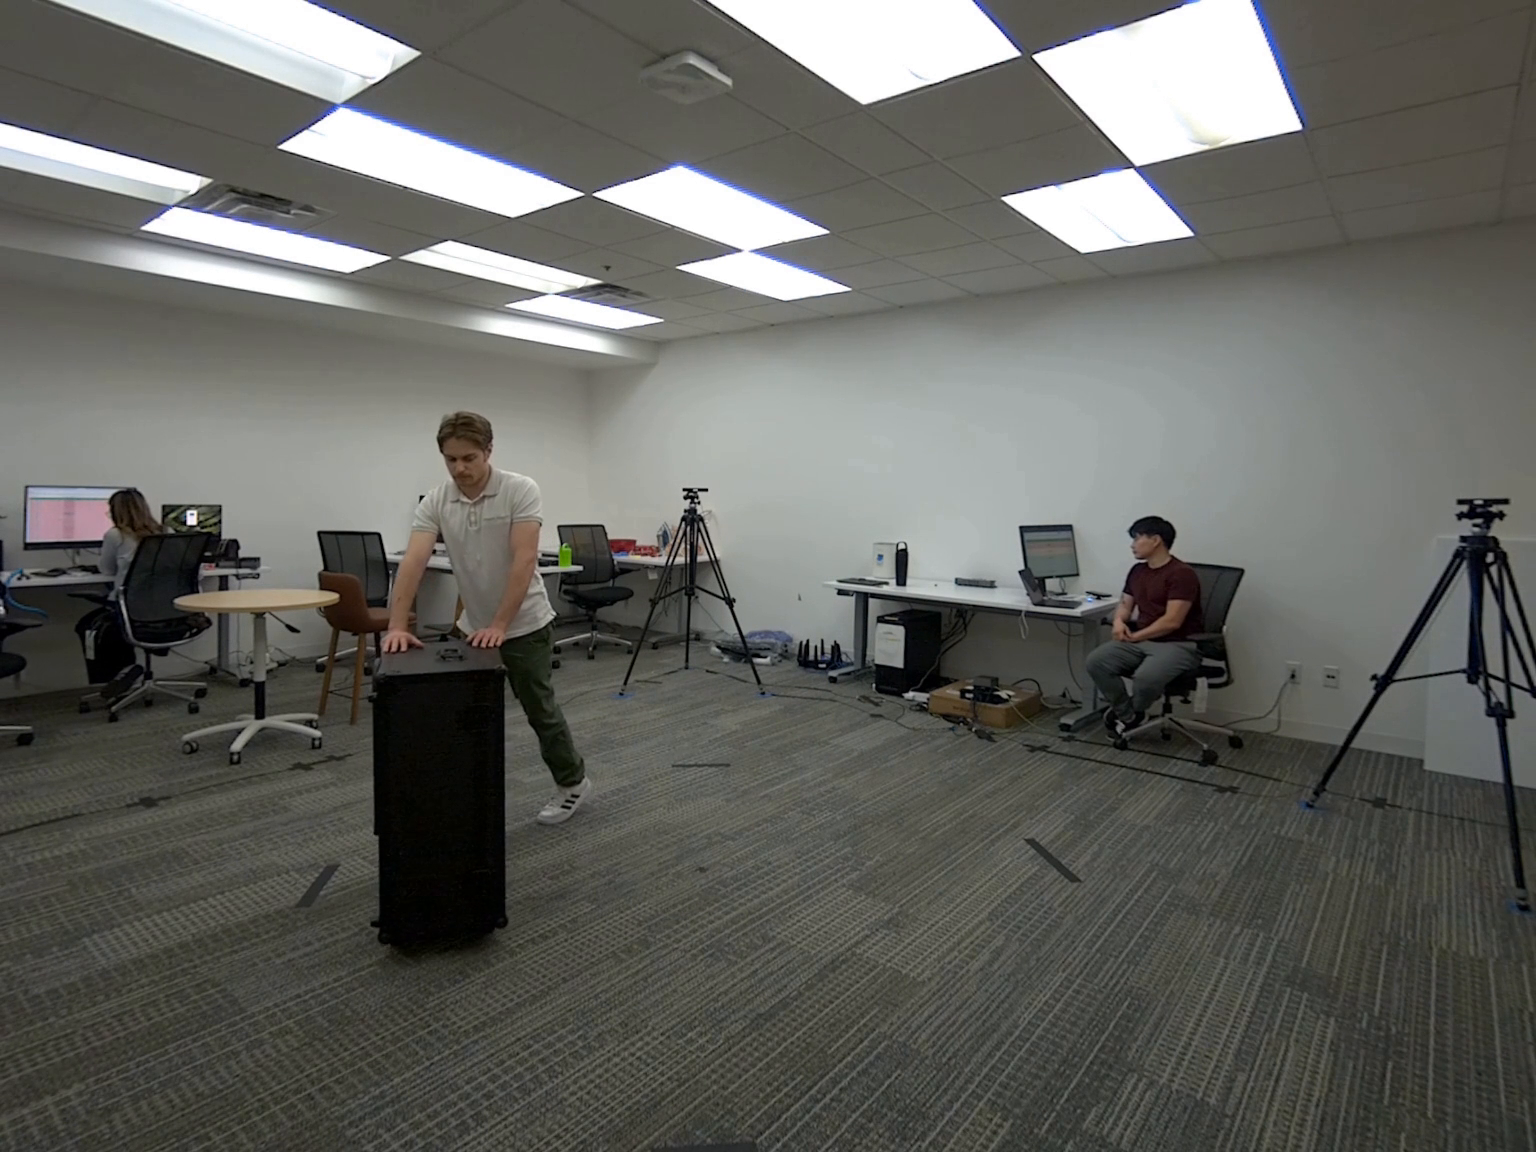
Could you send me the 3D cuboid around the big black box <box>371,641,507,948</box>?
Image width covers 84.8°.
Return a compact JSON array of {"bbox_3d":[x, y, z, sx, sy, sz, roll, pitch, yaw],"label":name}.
[{"bbox_3d":[-1.035,0.679,2.686,0.378,0.866,0.535,0,3,-20],"label":"big black box"}]
